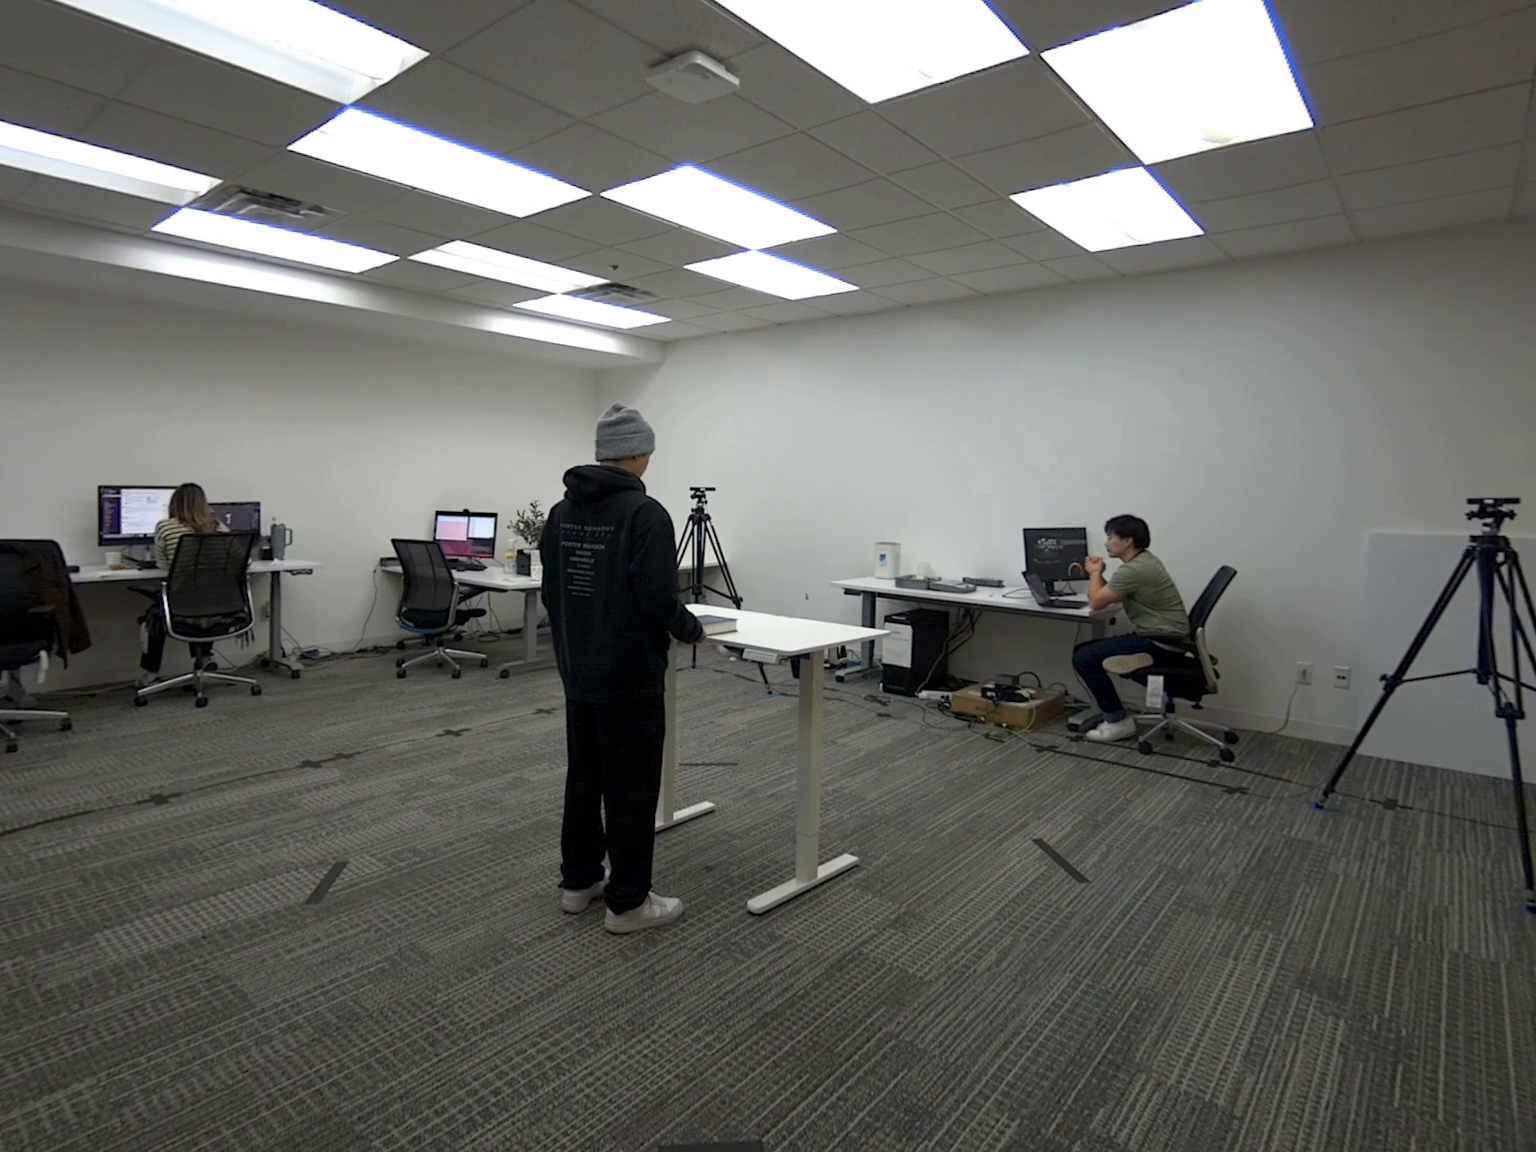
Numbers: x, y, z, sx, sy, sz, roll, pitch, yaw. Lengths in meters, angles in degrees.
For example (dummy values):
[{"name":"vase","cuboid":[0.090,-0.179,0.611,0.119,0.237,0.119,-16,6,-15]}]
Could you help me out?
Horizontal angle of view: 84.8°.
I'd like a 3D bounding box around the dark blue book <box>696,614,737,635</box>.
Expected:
[{"name":"dark blue book","cuboid":[-0.253,0.178,2.977,0.169,0.045,0.238,5,8,41]}]
